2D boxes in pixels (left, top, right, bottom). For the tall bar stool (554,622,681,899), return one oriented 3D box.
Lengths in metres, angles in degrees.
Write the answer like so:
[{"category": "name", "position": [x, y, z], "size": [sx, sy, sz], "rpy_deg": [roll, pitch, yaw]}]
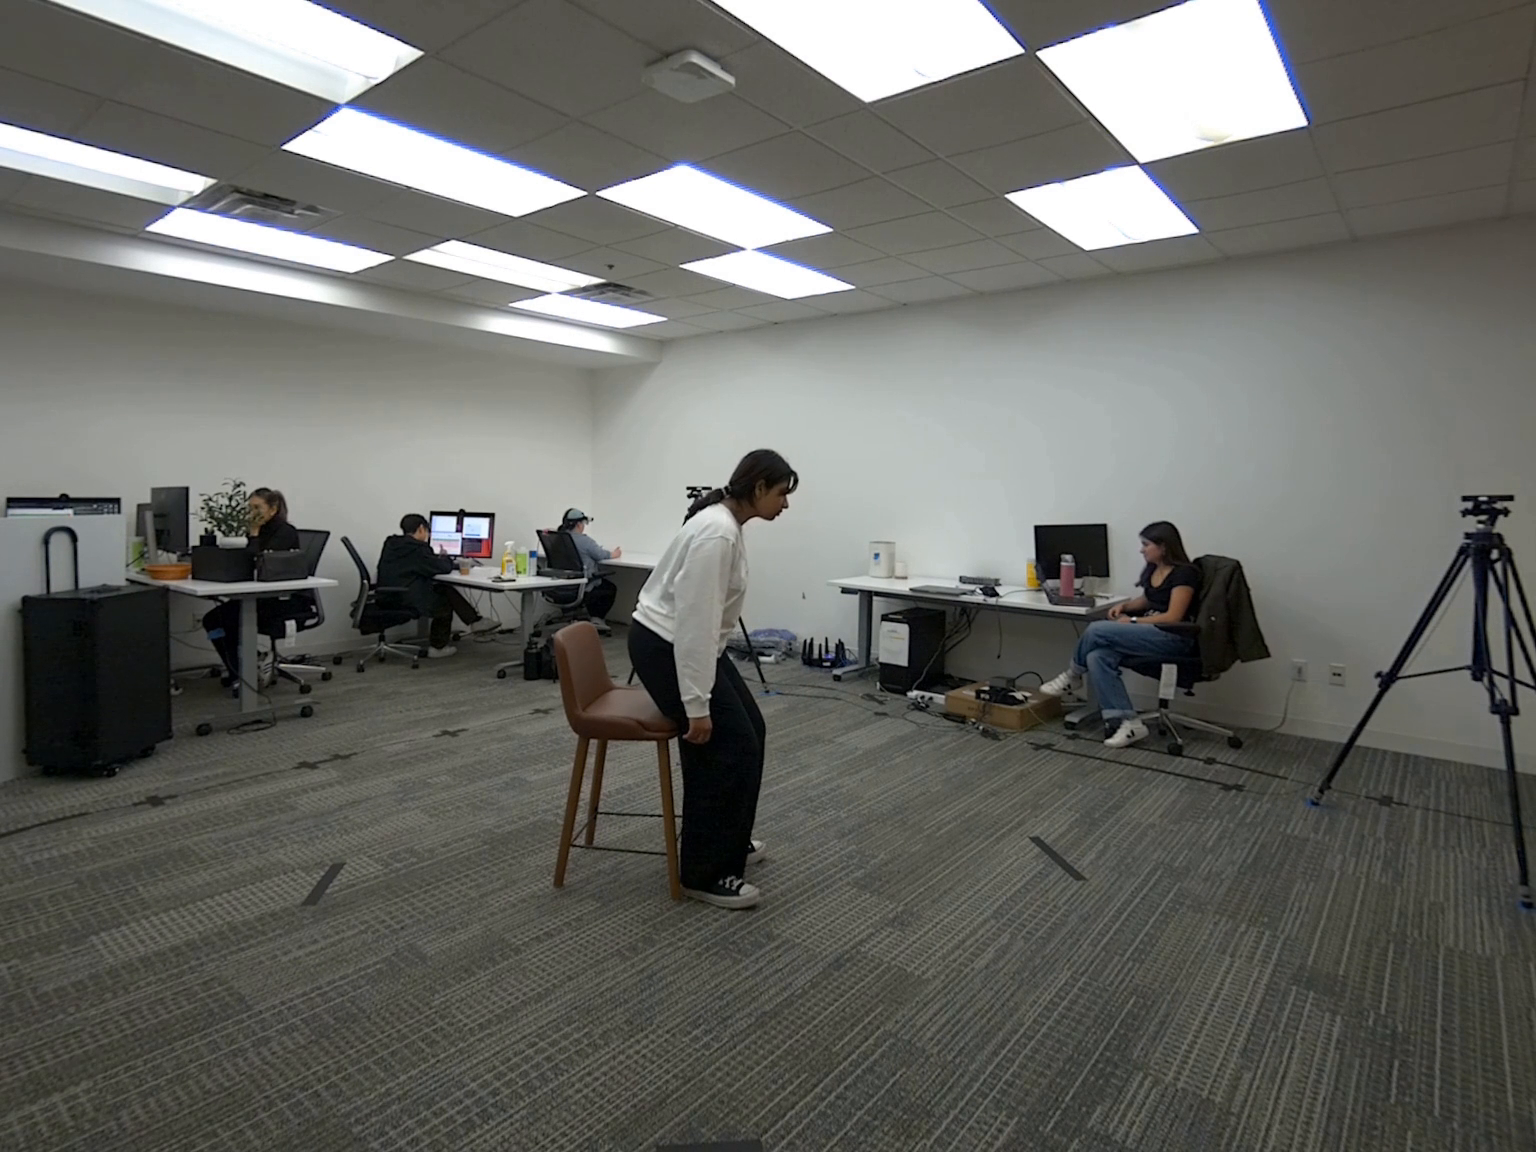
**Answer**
[{"category": "tall bar stool", "position": [-0.504, 0.630, 3.074], "size": [0.472, 0.887, 0.454], "rpy_deg": [0, 3, 8]}]
